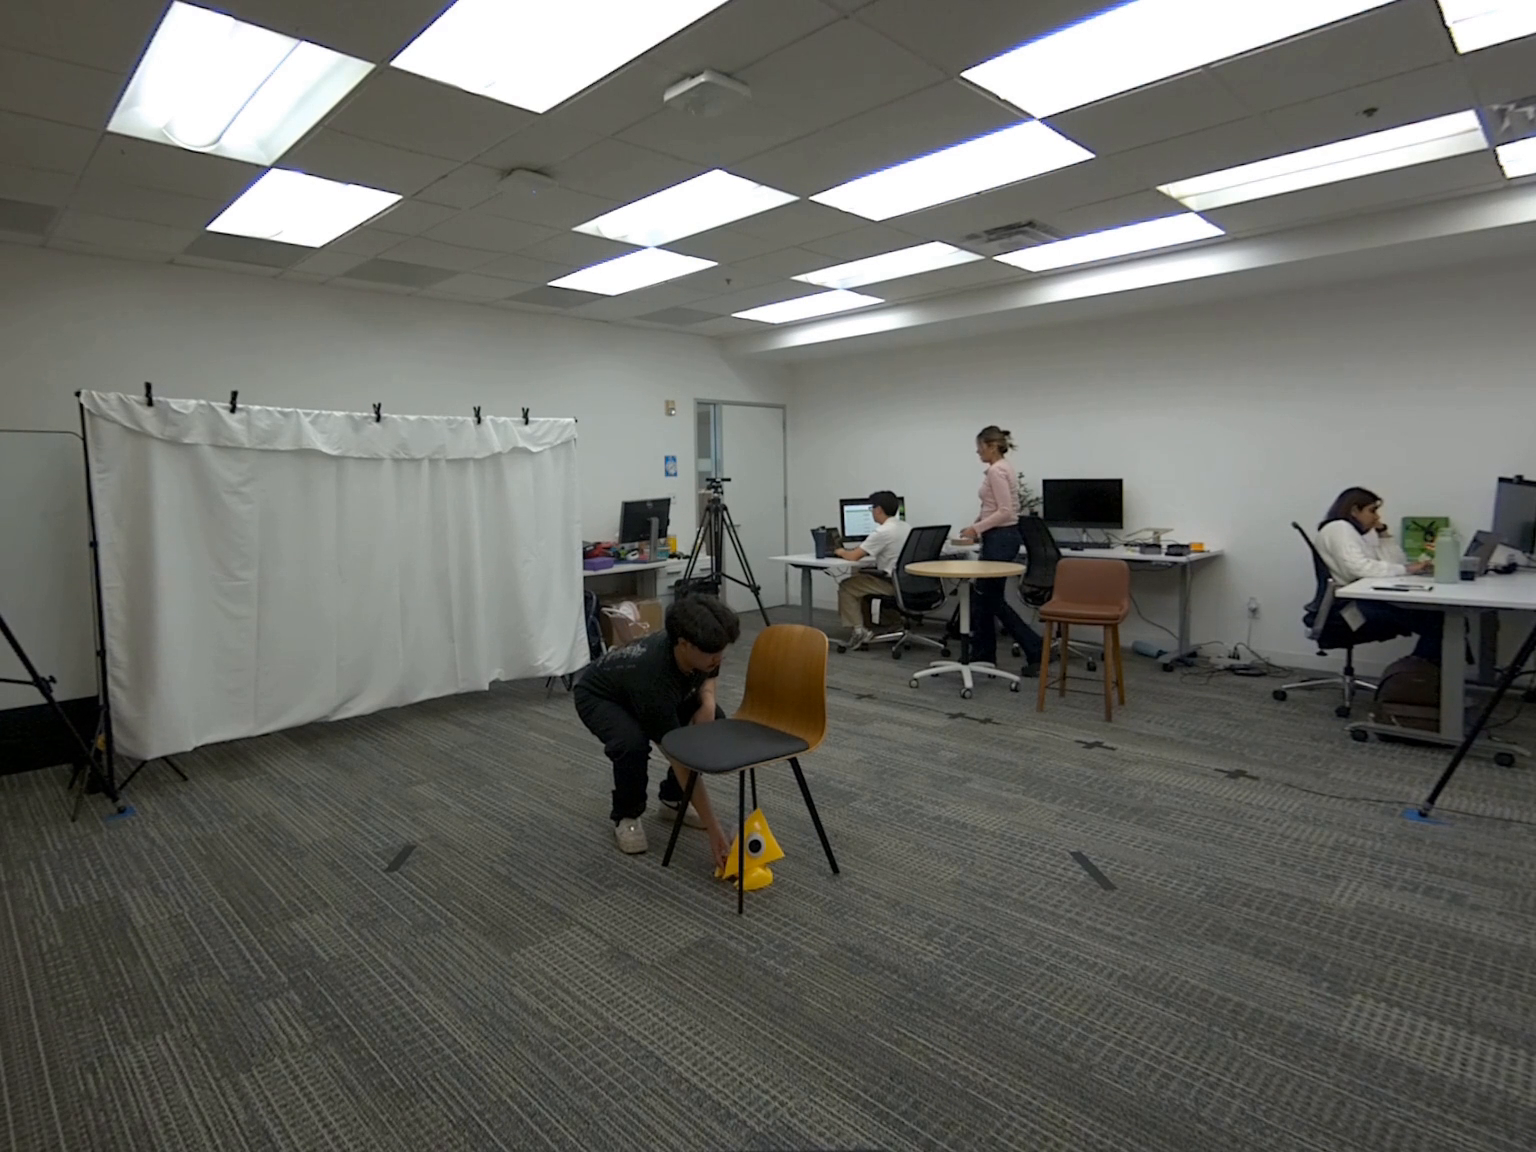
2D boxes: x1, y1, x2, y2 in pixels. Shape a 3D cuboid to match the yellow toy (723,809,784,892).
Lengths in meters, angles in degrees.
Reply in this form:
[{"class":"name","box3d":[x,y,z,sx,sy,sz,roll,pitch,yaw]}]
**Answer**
[{"class":"yellow toy","box3d":[-0.079,0.944,3.000,0.188,0.230,0.211,-3,4,-35]}]
